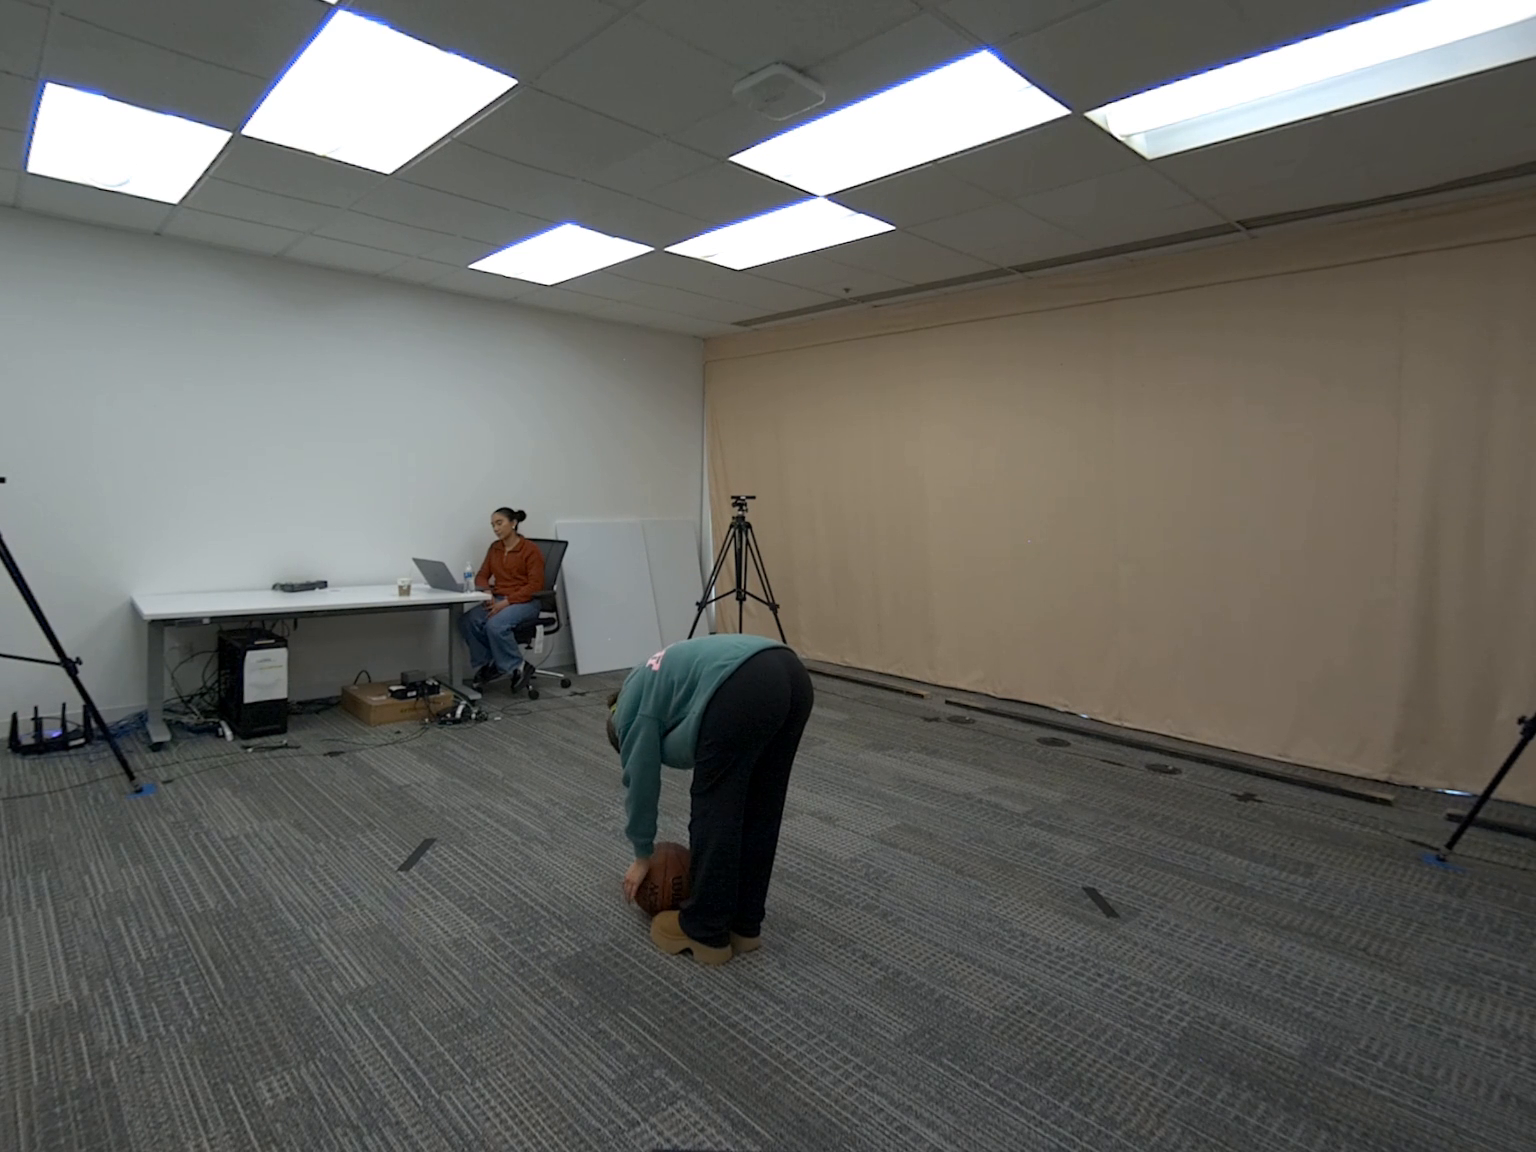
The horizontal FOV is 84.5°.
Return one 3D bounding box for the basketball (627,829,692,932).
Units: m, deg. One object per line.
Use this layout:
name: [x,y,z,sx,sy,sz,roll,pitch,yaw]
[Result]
basketball: [-0.334,1.003,2.804,0.236,0.235,0.237,1,4,-1]
